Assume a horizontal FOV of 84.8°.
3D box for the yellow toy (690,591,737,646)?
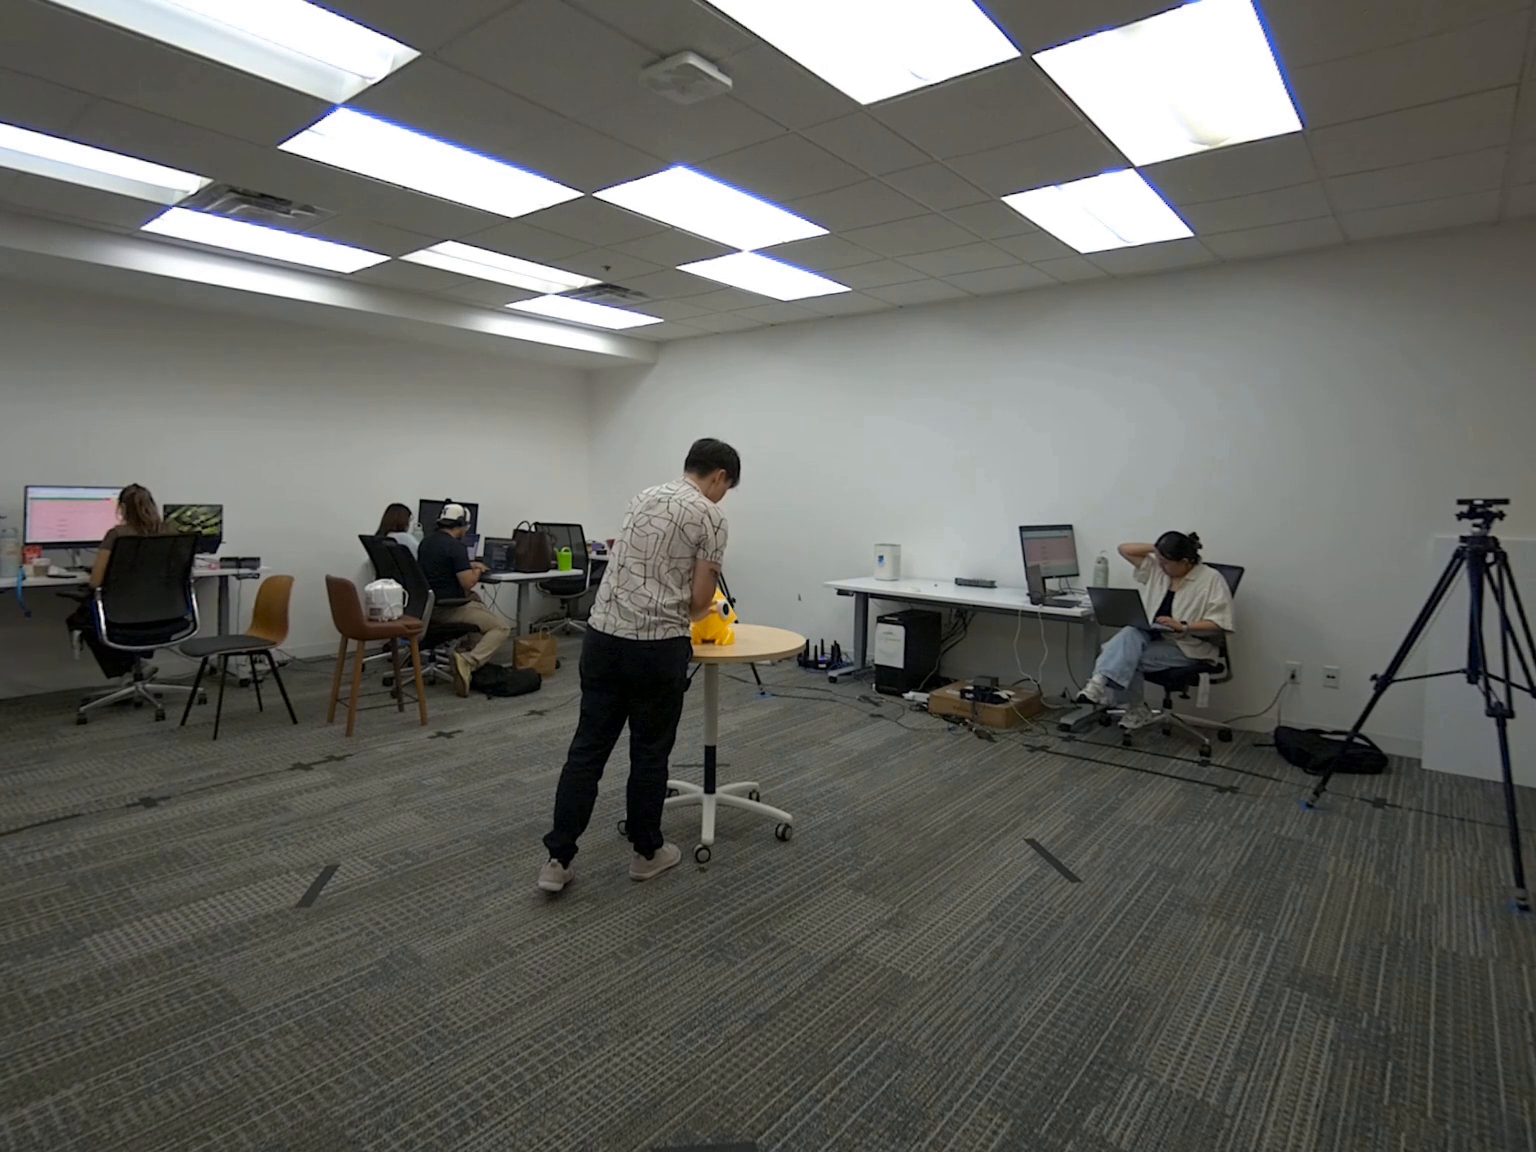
[{"bbox_3d":[-0.244,0.145,3.413,0.206,0.230,0.193,1,4,4],"label":"yellow toy"}]
